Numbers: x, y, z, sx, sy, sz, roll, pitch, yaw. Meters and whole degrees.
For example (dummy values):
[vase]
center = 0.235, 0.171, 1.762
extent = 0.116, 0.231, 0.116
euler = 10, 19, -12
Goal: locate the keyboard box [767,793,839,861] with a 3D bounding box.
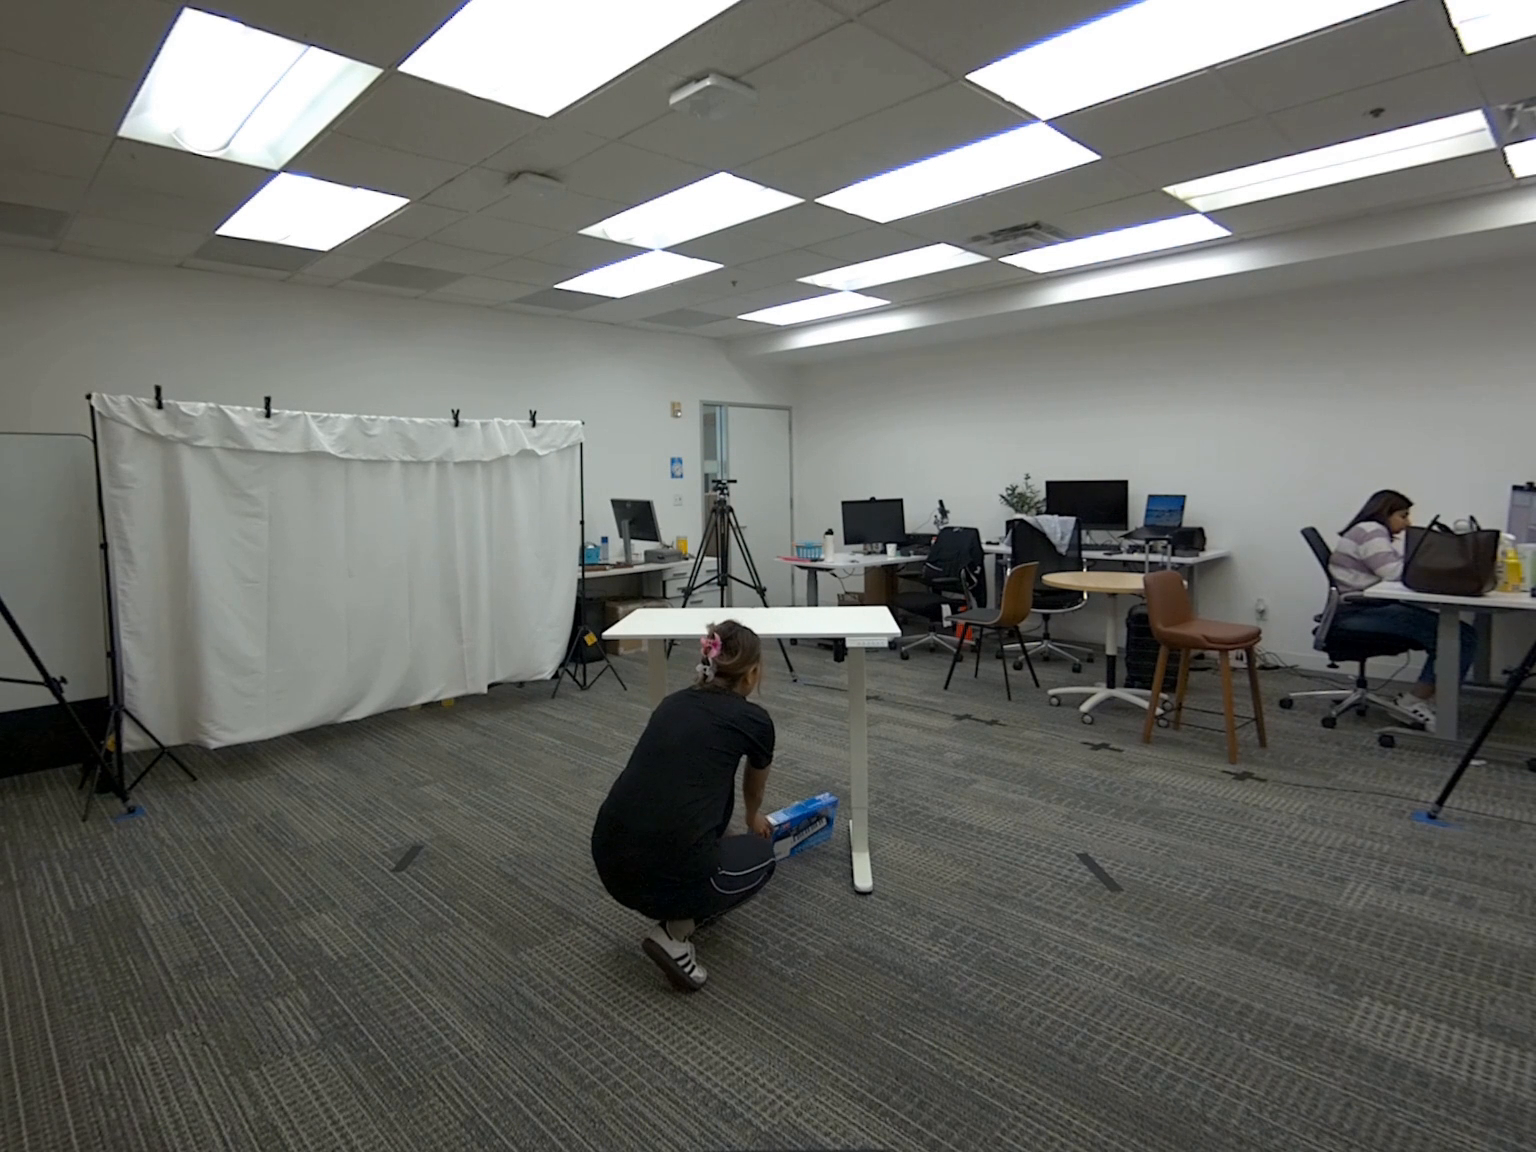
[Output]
[keyboard box]
center = 0.091, 0.950, 3.181
extent = 0.425, 0.174, 0.061
euler = -7, 21, -45
